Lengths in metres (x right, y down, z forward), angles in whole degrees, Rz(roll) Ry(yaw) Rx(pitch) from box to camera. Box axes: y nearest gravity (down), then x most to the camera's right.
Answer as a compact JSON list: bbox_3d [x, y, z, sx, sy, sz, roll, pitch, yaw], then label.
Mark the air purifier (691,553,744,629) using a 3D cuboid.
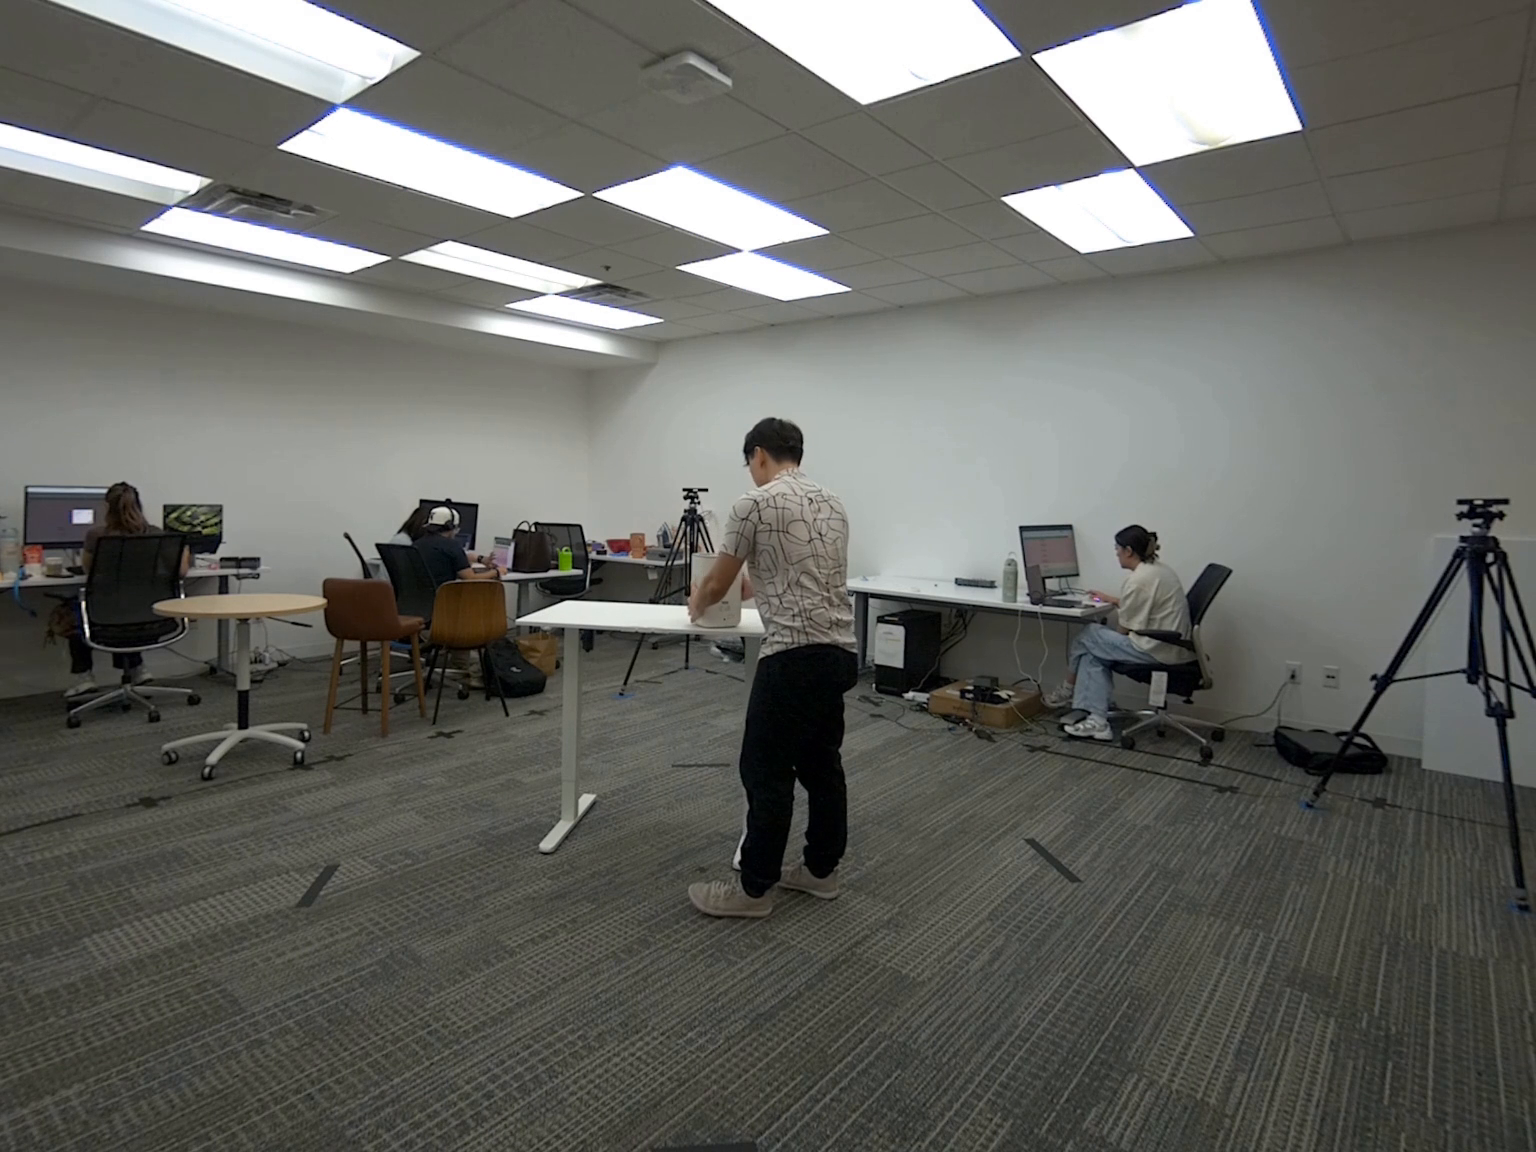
[{"bbox_3d":[-0.195,0.052,3.193,0.168,0.265,0.175,-1,3,-21],"label":"air purifier"}]
